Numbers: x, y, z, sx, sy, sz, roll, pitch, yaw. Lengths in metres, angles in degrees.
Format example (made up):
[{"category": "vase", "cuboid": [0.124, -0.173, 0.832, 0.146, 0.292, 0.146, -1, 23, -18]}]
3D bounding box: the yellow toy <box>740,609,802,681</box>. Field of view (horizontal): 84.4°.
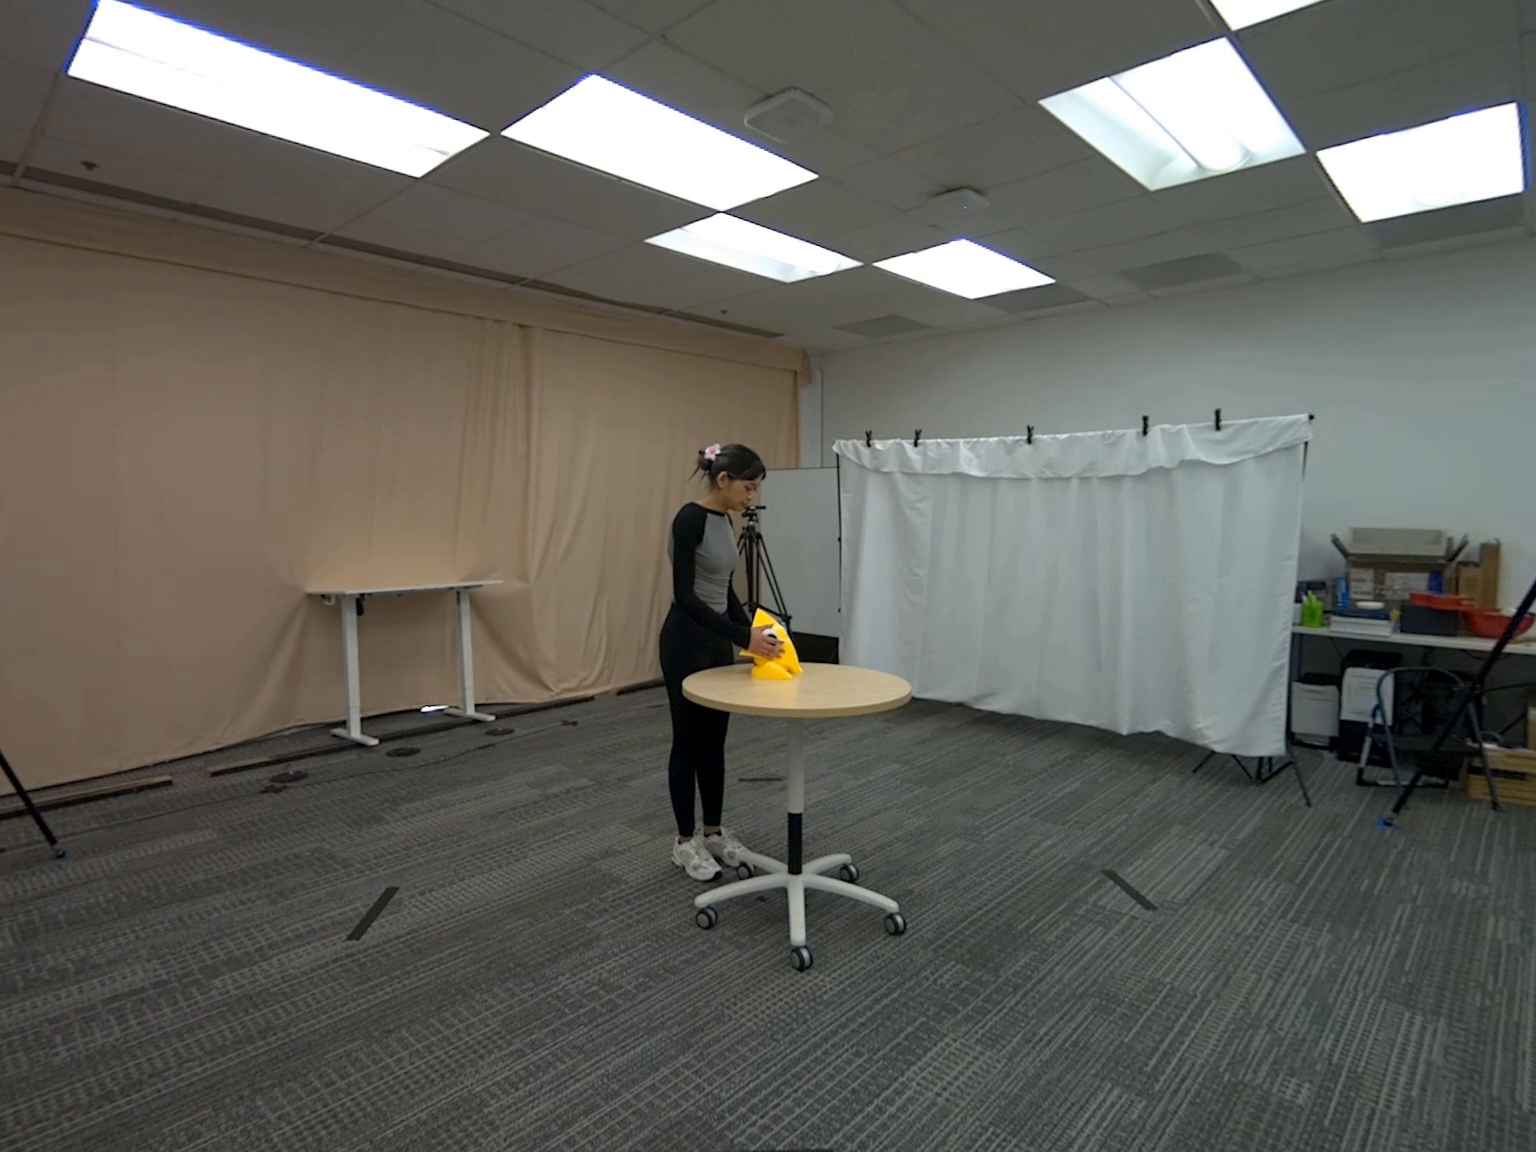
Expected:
[{"category": "yellow toy", "cuboid": [0.023, 0.235, 3.003, 0.197, 0.230, 0.201, 0, 4, 21]}]
